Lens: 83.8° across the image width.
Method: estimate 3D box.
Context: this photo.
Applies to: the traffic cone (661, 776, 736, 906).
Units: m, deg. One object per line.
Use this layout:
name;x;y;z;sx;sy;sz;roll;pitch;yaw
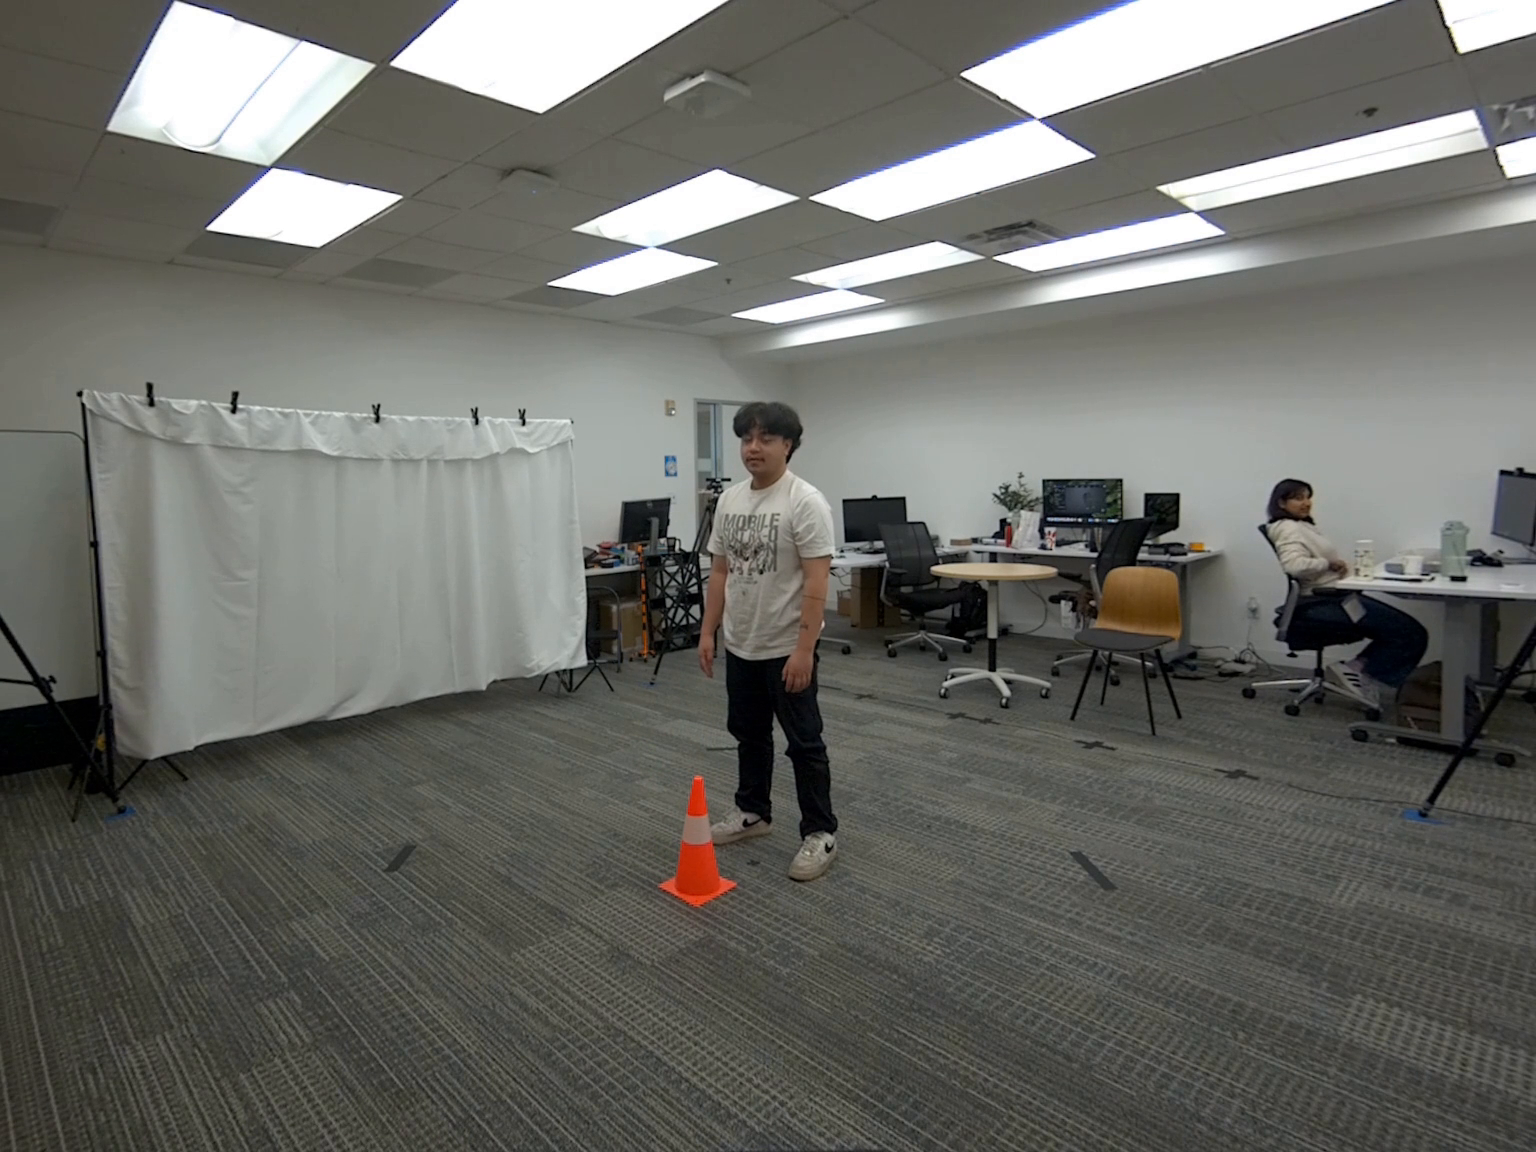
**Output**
traffic cone;-0.236;0.884;2.915;0.211;0.382;0.198;4;7;38
